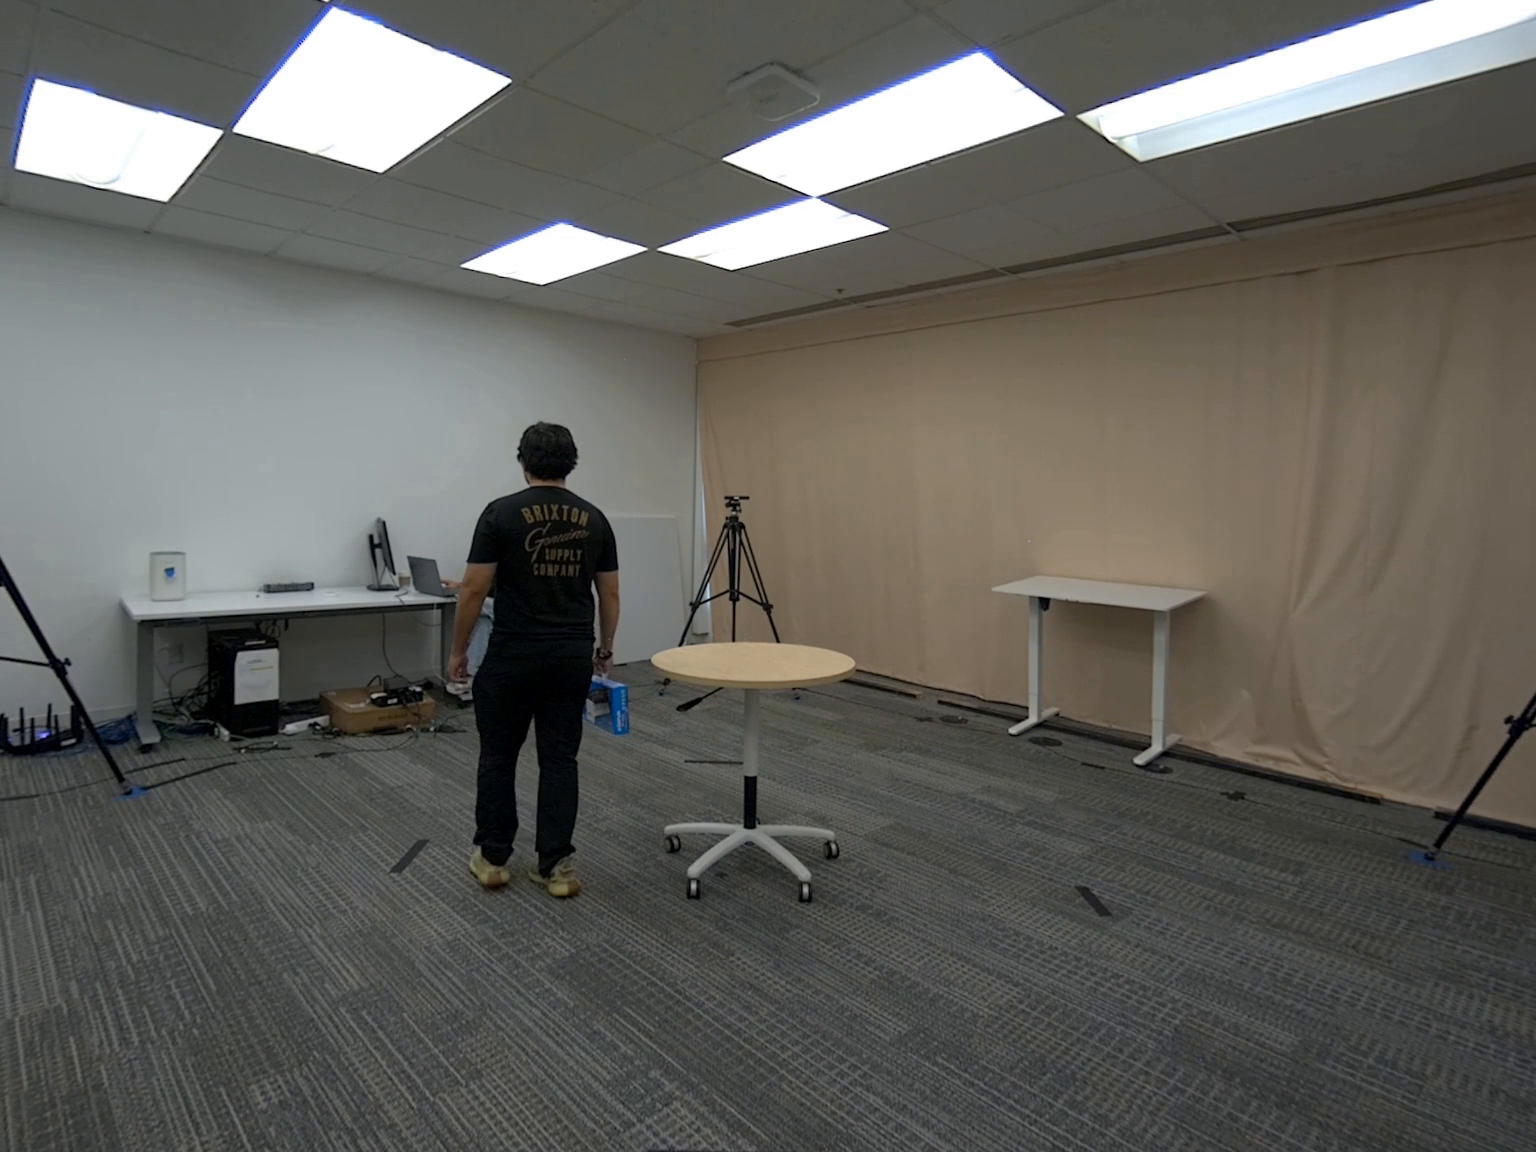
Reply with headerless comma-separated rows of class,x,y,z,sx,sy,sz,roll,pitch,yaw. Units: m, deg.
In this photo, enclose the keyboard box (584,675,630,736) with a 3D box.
keyboard box,-0.642,0.489,3.241,0.058,0.176,0.445,-2,0,-29
